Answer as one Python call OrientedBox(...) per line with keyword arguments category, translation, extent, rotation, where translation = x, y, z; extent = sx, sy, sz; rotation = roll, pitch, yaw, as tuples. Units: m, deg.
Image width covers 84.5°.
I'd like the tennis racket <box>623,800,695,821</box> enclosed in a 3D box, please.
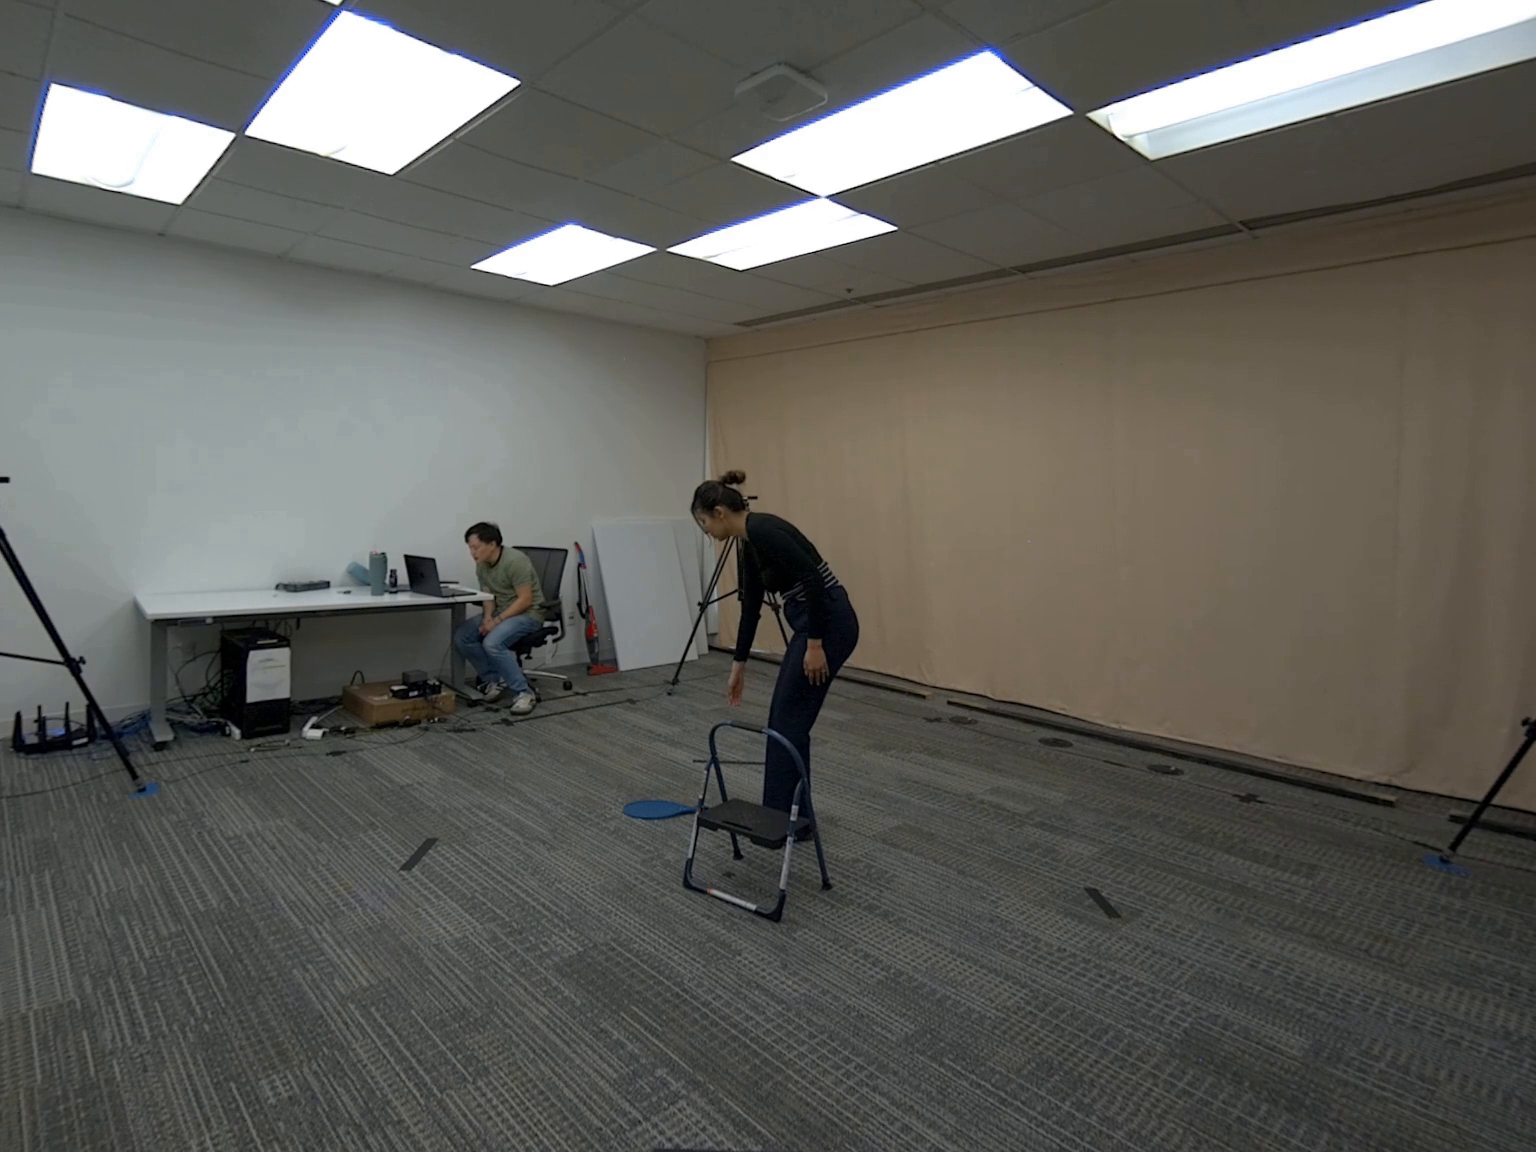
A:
OrientedBox(category="tennis racket", translation=(-0.432, 1.021, 3.709), extent=(0.435, 0.031, 0.213), rotation=(0, 5, 6))
